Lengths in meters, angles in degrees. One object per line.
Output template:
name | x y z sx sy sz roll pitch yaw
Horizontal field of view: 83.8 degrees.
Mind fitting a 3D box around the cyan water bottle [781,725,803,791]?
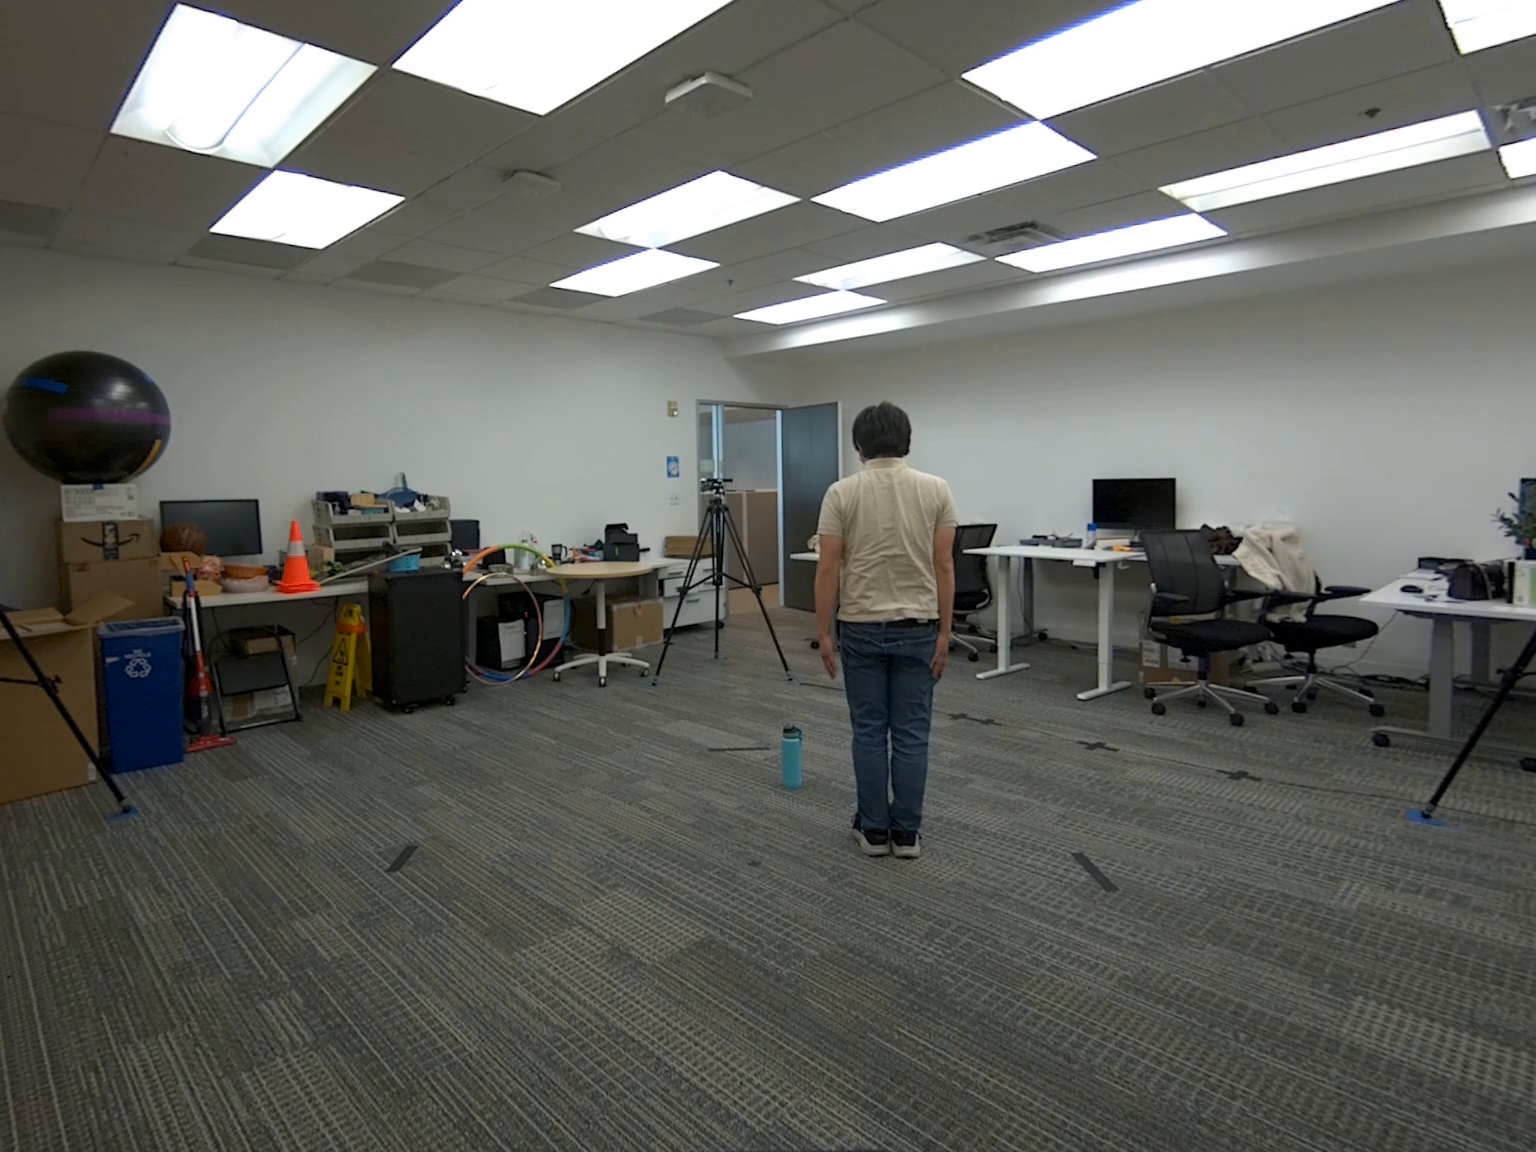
cyan water bottle | 0.113 0.813 3.887 0.092 0.282 0.093 0 3 -2
